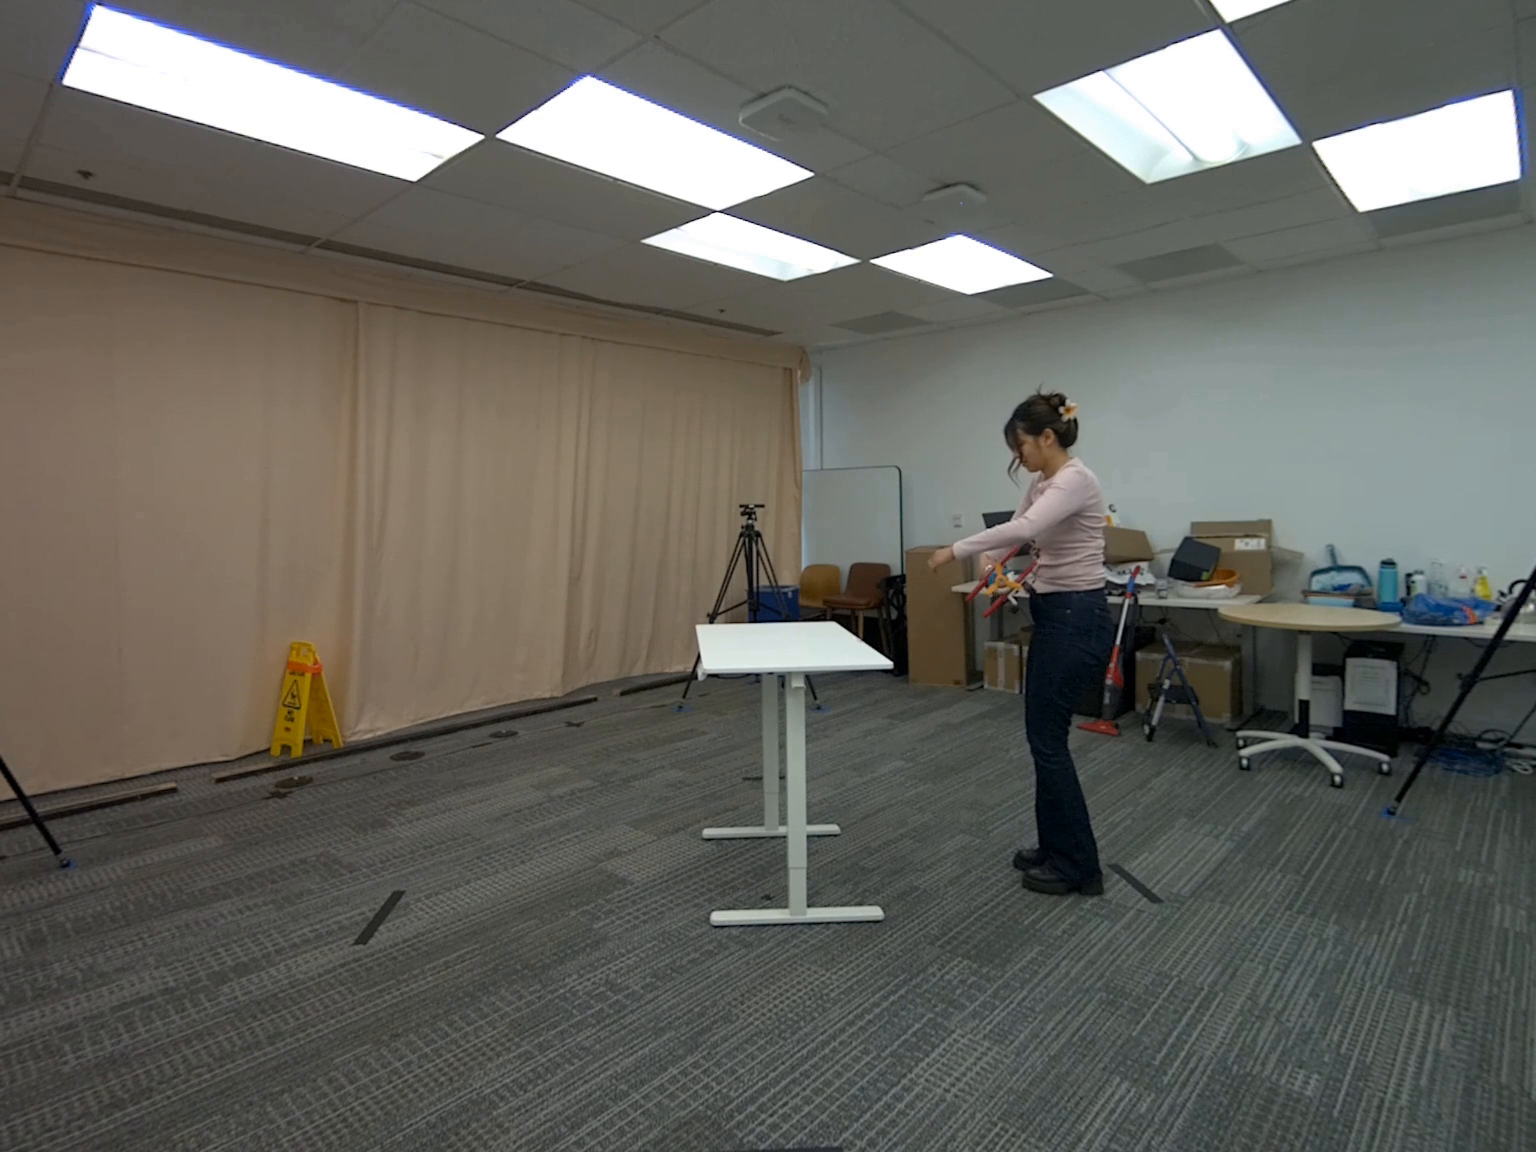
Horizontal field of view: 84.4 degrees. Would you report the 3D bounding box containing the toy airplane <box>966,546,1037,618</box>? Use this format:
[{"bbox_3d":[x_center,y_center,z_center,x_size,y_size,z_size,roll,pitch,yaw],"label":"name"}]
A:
[{"bbox_3d":[0.800,0.053,2.943,0.249,0.157,0.260,-46,-1,-26],"label":"toy airplane"}]
